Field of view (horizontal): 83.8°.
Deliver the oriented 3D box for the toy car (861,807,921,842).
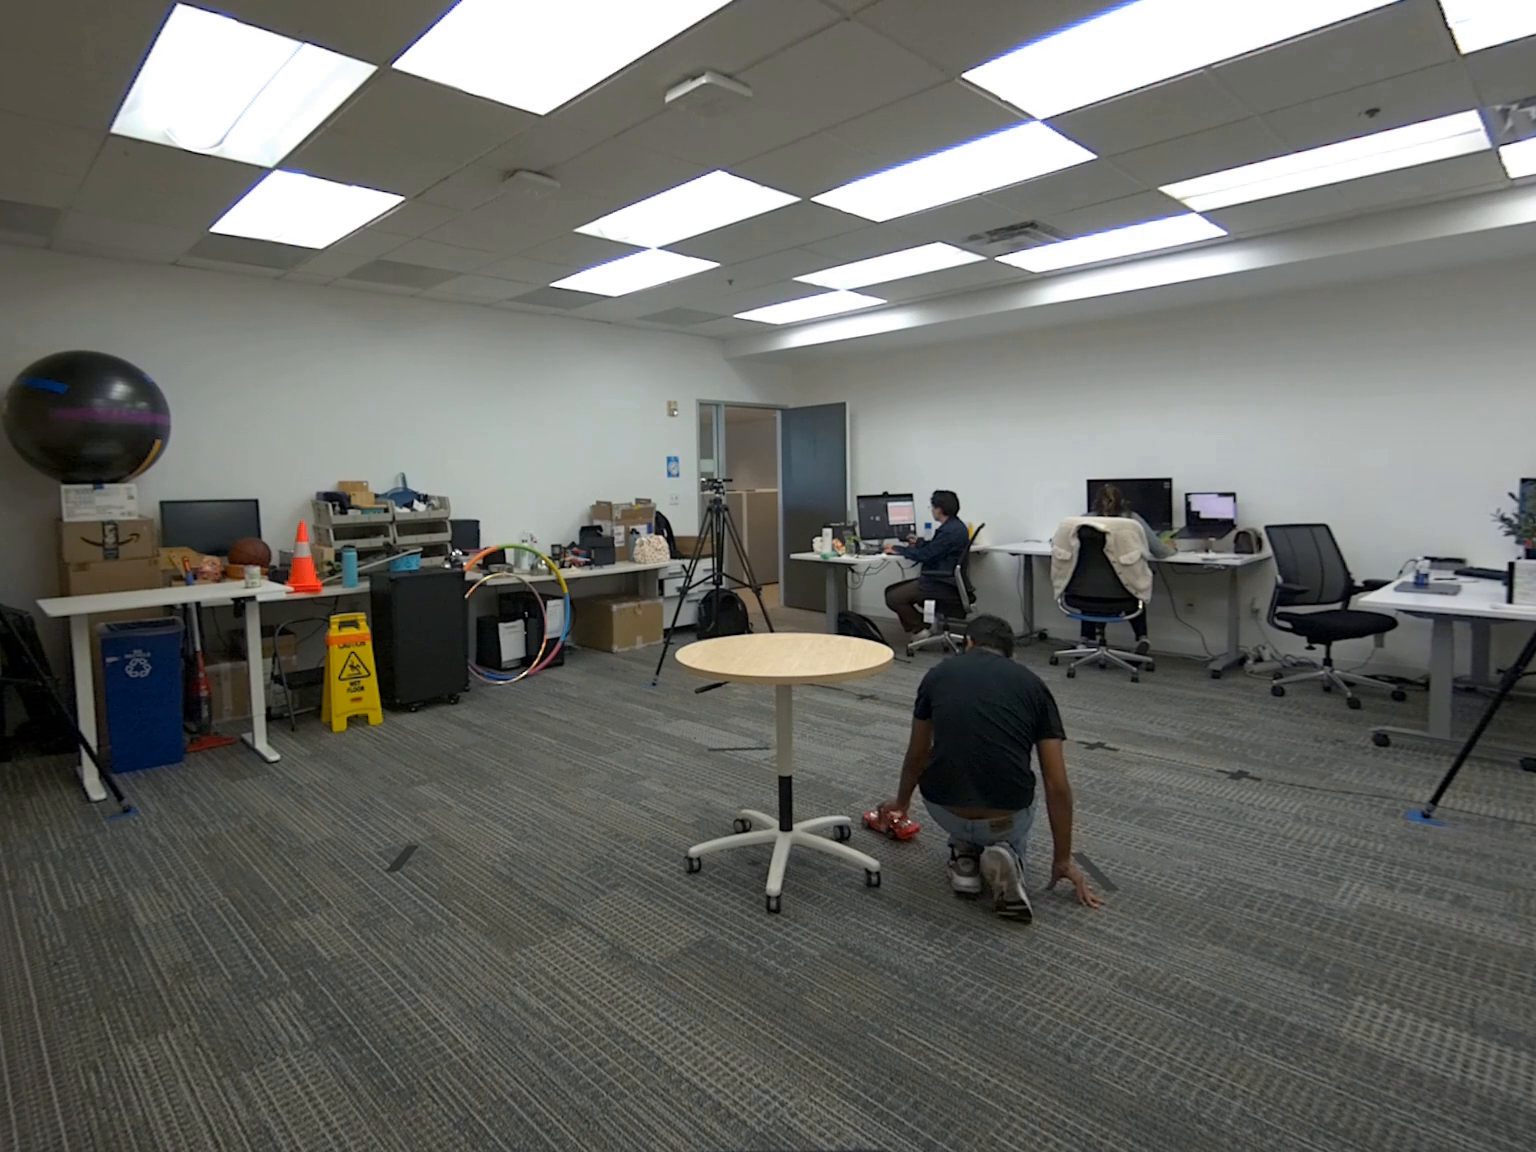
[{"bbox_3d":[0.483,0.972,3.341,0.127,0.083,0.260,-4,-3,-35],"label":"toy car"}]
